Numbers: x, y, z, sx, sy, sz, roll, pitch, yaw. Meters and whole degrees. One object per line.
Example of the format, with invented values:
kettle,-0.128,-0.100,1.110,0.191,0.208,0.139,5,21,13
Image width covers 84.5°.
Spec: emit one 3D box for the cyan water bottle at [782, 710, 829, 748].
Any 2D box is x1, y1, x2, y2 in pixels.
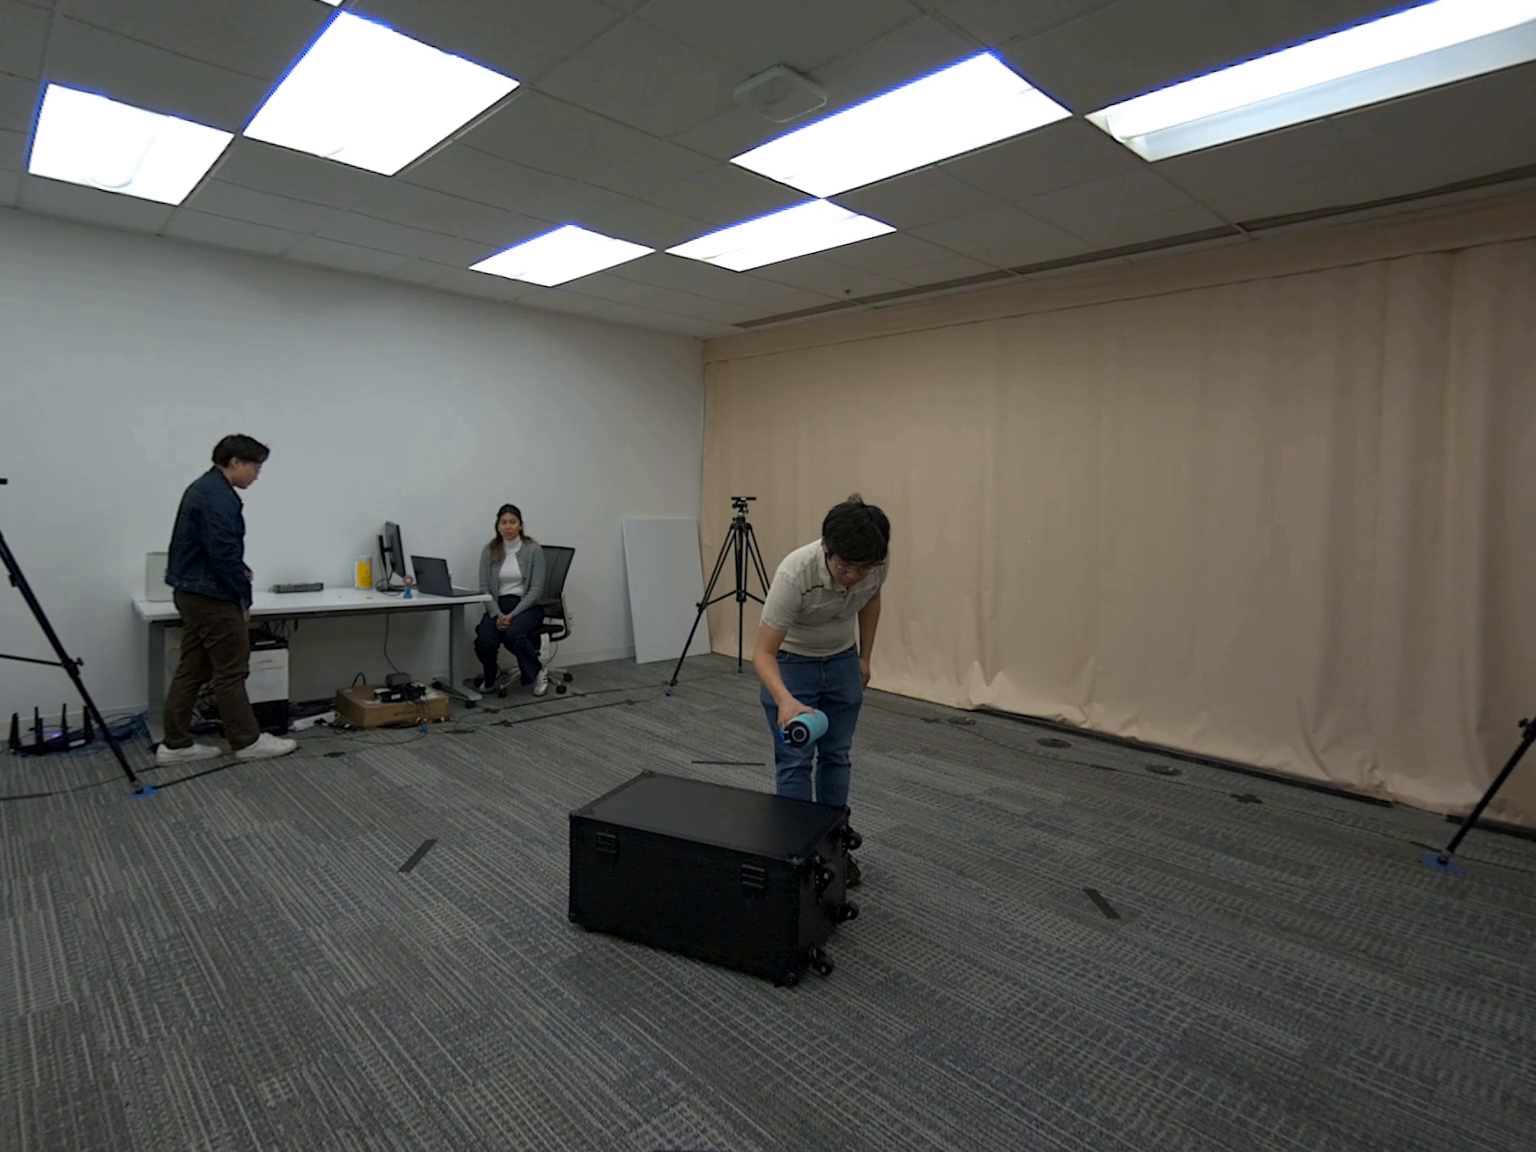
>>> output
cyan water bottle,0.100,0.475,2.572,0.093,0.092,0.279,3,-1,15
